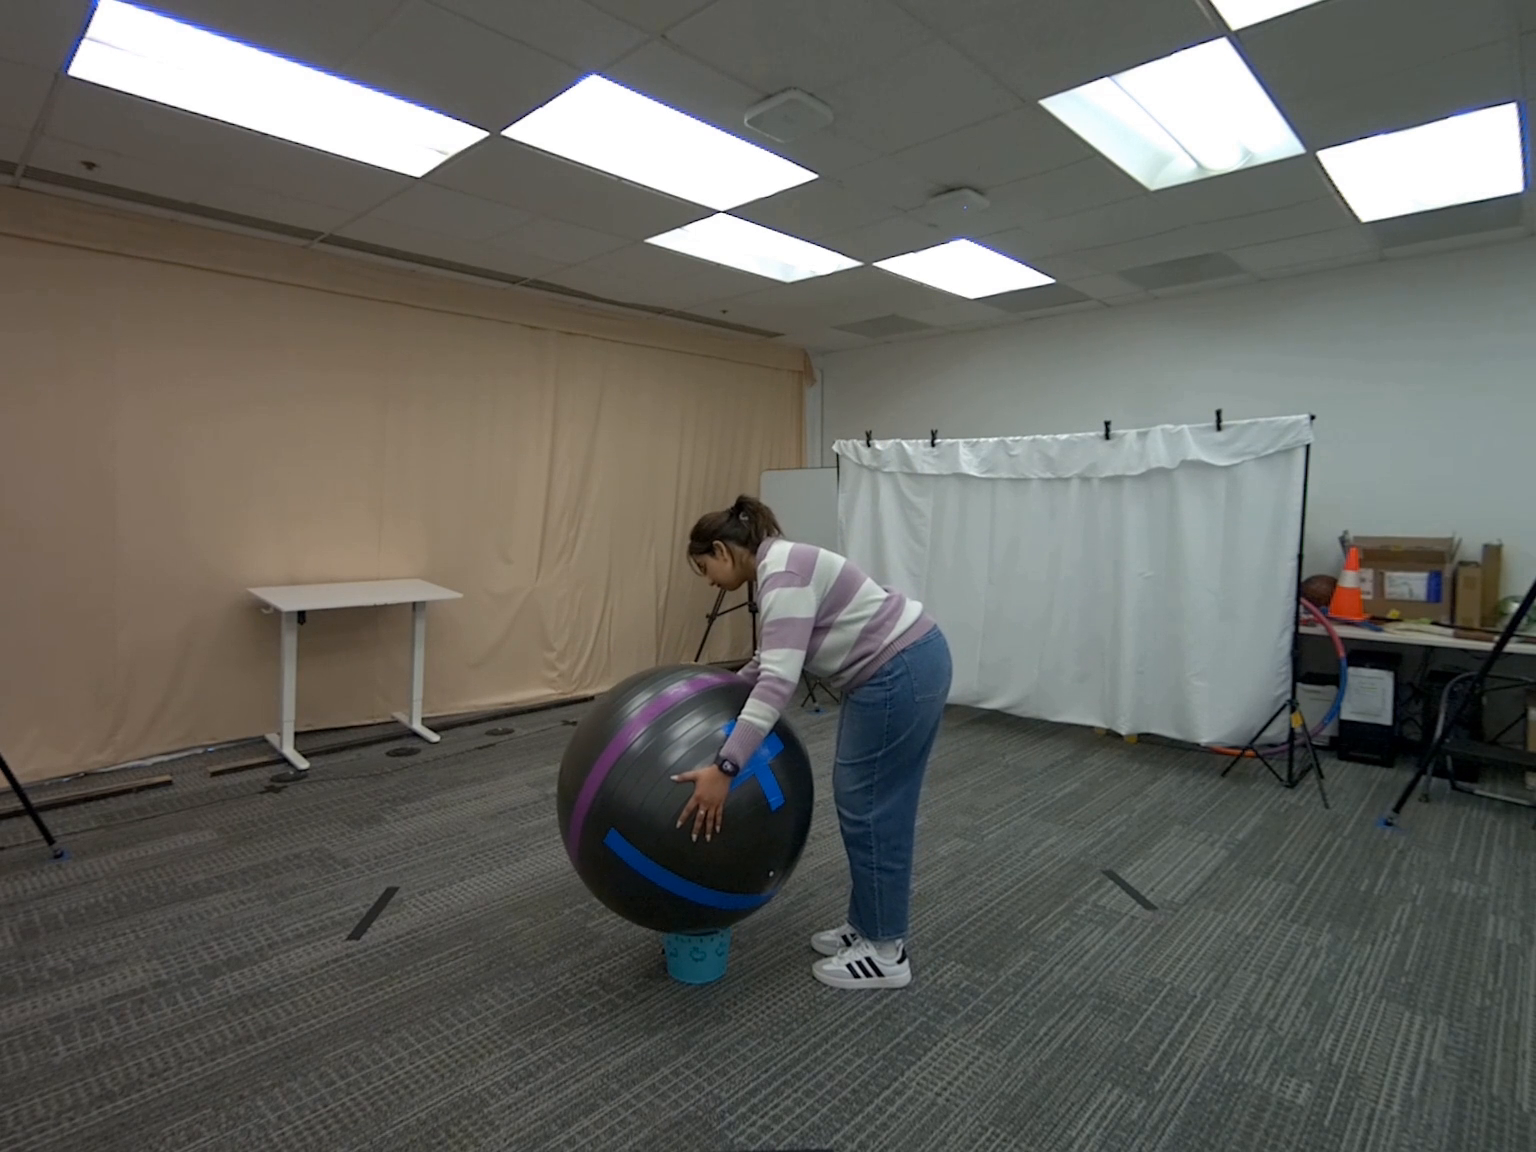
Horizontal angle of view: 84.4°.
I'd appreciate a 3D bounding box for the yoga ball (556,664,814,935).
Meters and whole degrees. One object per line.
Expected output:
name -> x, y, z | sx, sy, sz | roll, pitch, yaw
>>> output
yoga ball -> -0.247, 0.647, 2.484 | 0.757, 0.756, 0.761 | 0, 4, -2
